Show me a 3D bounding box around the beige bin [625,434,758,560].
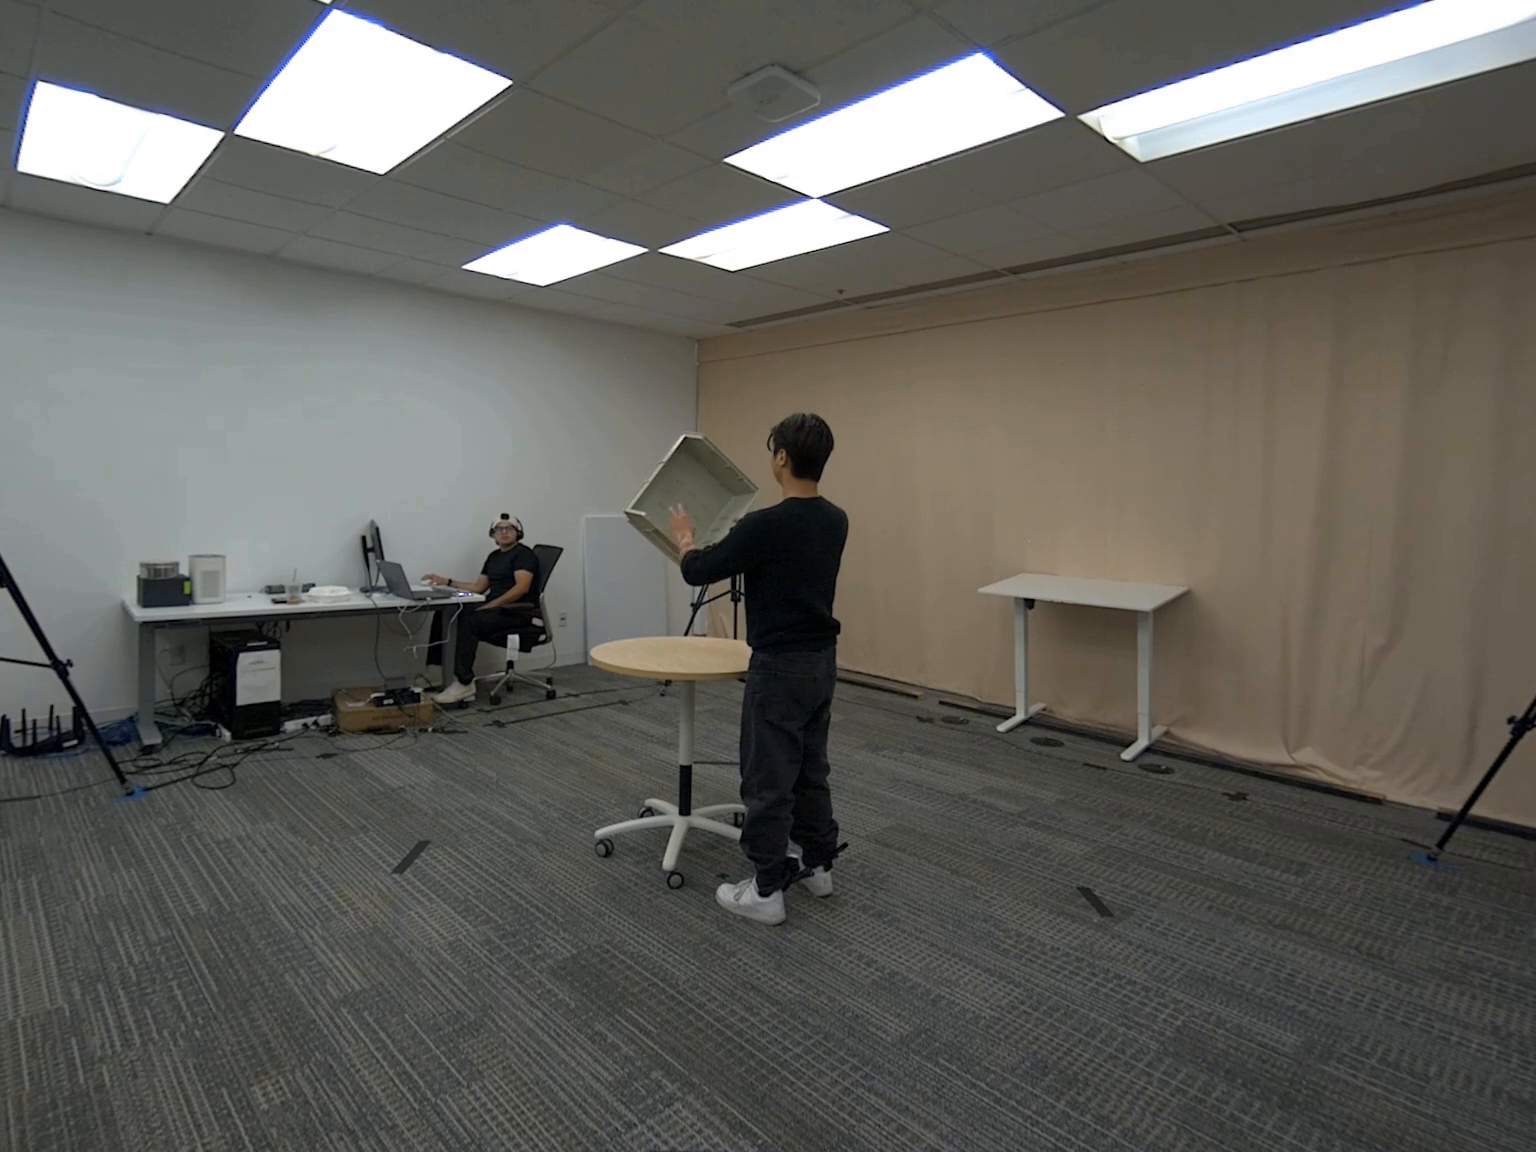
[{"bbox_3d":[-0.312,-0.294,3.334,0.368,0.424,0.193,43,-24,-25],"label":"beige bin"}]
